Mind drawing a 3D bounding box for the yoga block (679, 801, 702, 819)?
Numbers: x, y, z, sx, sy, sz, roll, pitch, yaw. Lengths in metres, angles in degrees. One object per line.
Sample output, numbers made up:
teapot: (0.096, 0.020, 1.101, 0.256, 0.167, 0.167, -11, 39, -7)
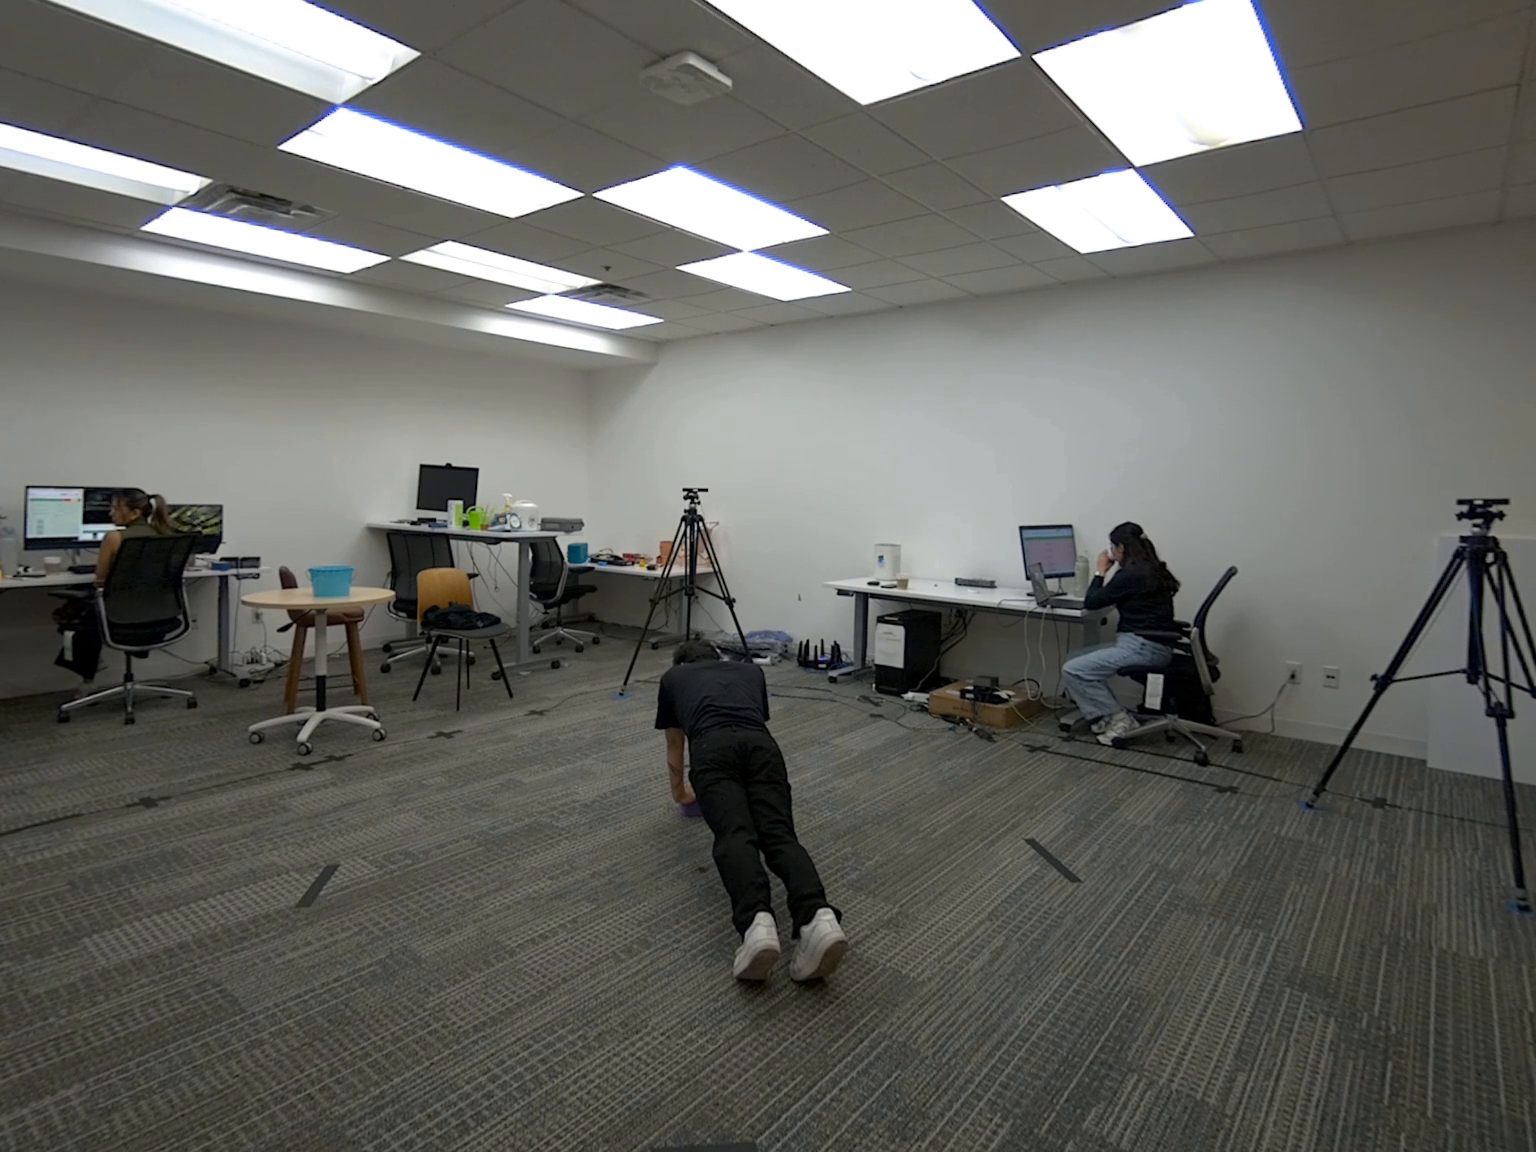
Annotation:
yoga block: (-0.269, 0.969, 3.687, 0.226, 0.076, 0.151, -2, 5, -12)
